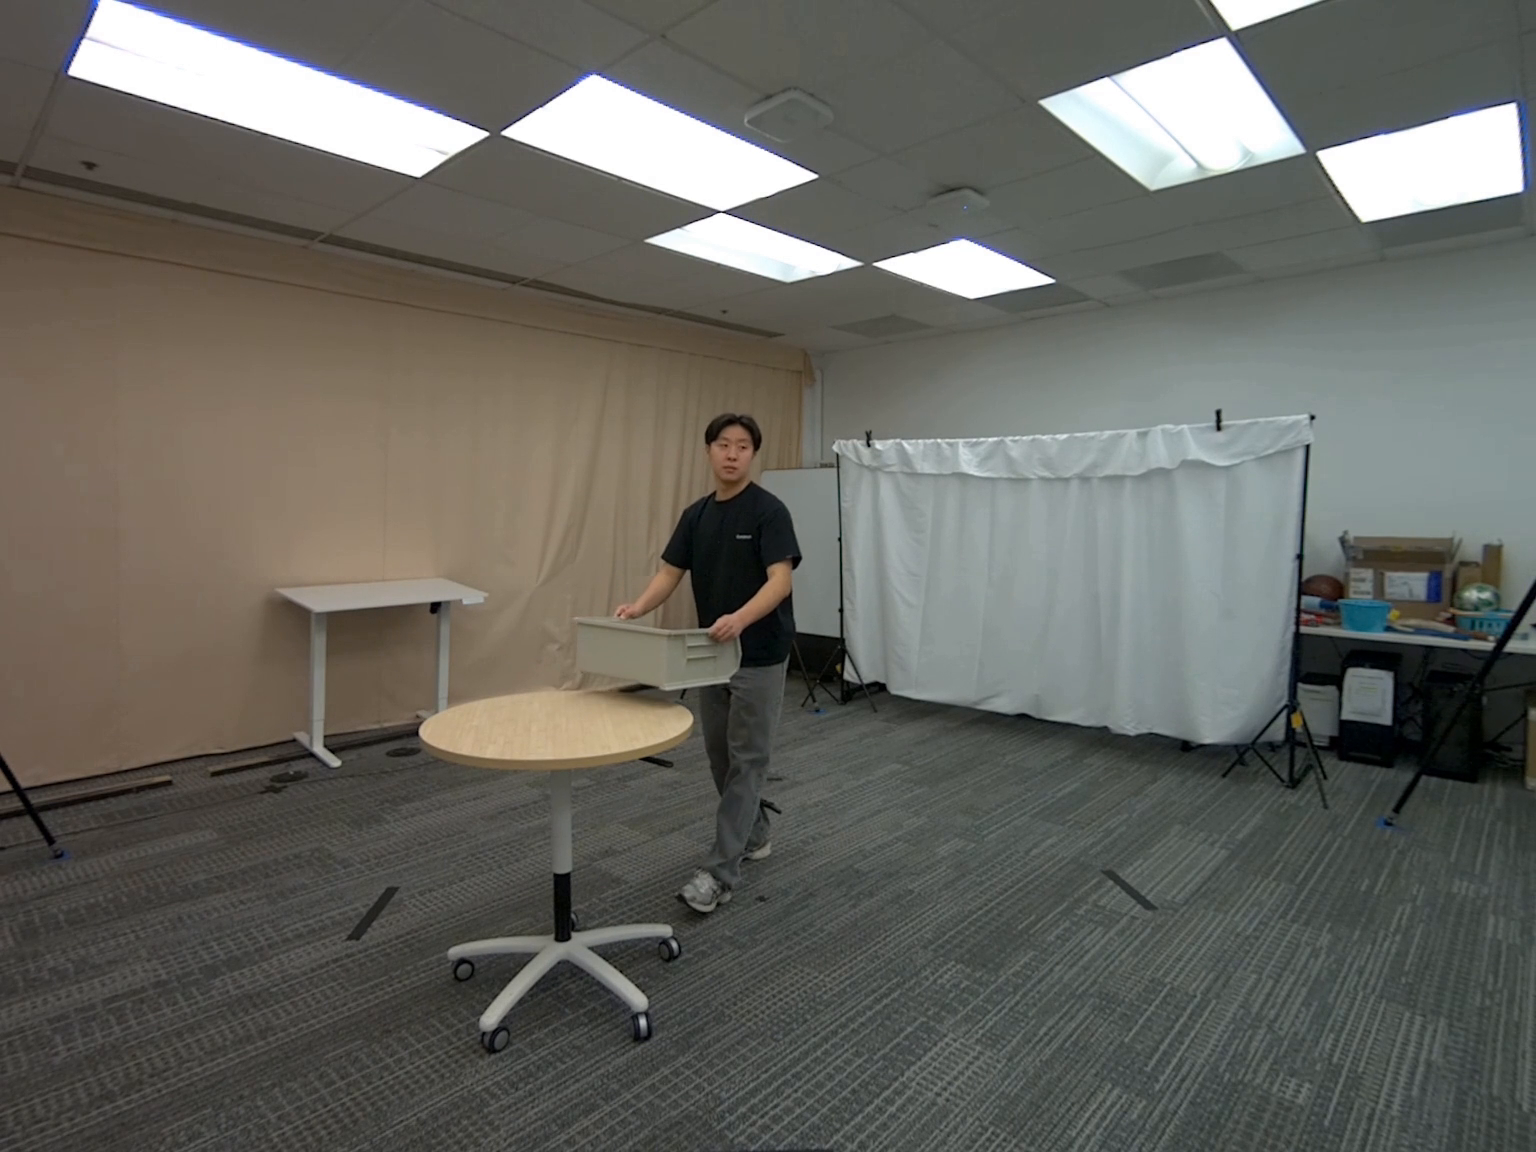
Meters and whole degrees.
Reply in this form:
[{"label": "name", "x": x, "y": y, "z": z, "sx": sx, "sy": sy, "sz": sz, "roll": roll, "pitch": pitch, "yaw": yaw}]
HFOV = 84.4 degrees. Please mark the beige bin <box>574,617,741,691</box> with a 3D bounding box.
[{"label": "beige bin", "x": -0.364, "y": 0.251, "z": 2.759, "sx": 0.436, "sy": 0.189, "sz": 0.366, "roll": 5, "pitch": 4, "yaw": 37}]
